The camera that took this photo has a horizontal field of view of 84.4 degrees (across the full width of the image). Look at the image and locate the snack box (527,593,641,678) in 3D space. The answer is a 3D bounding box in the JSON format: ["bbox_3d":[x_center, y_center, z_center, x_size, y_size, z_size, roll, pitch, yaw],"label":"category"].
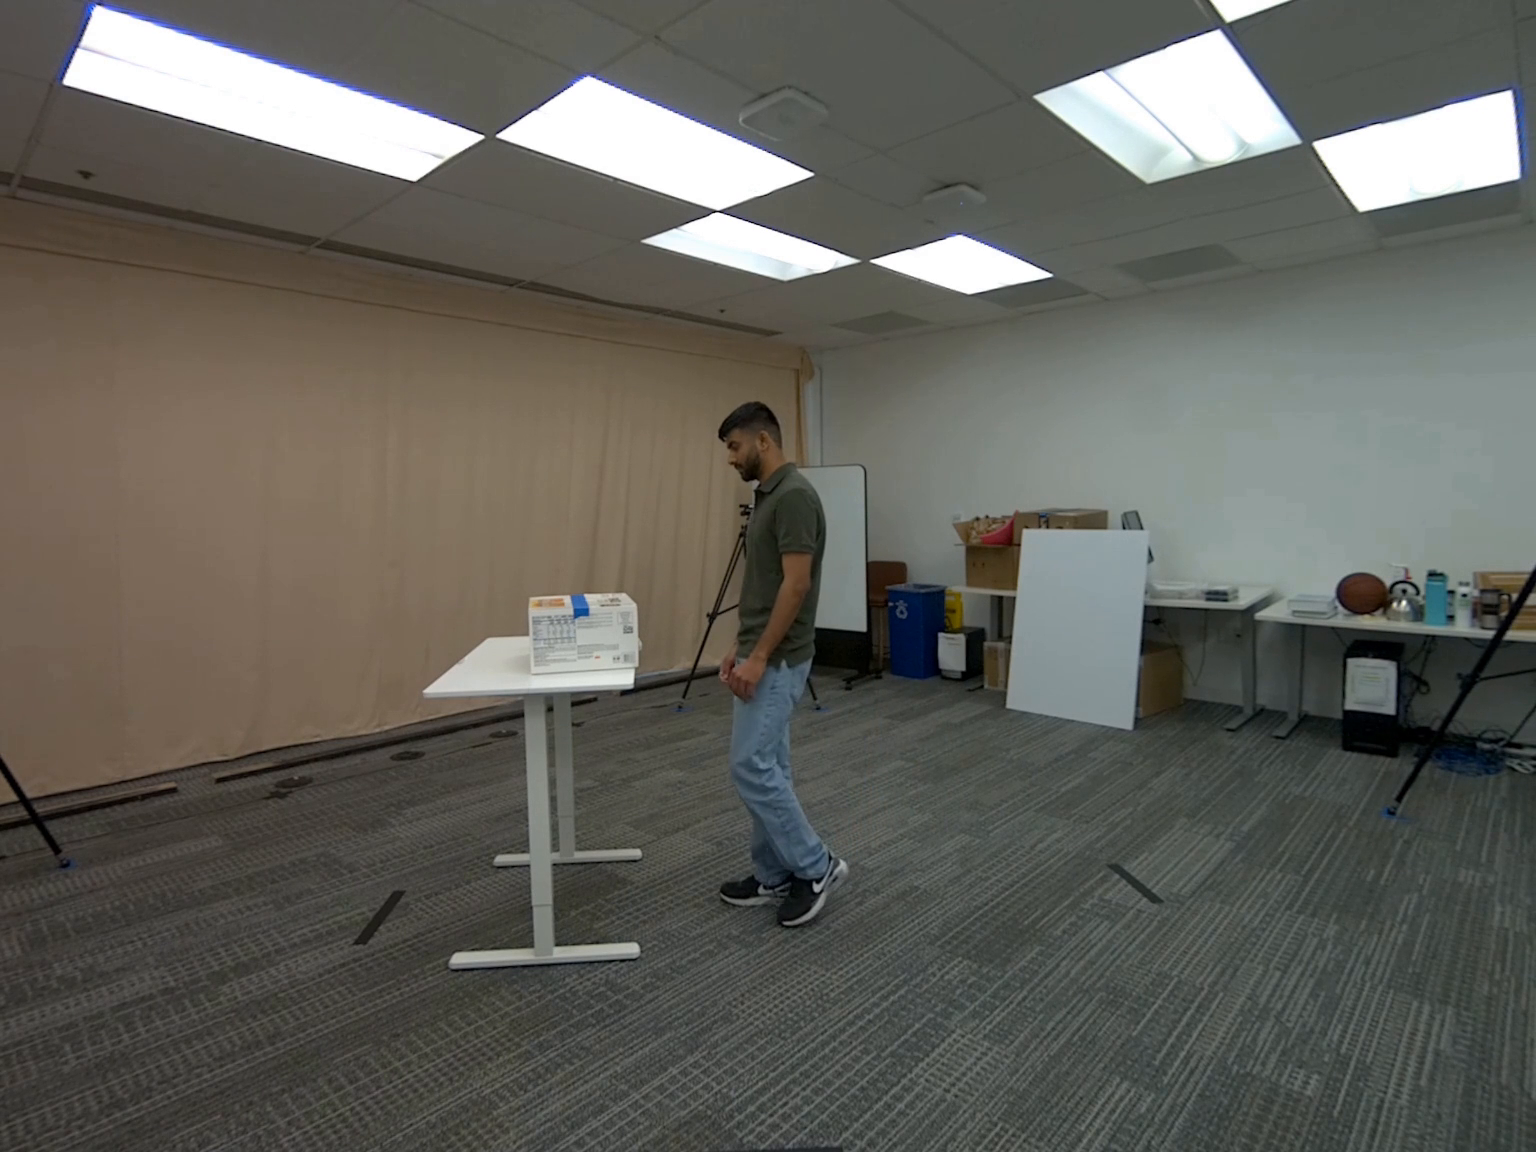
[{"bbox_3d":[-0.626,0.186,2.829,0.336,0.205,0.412,-2,5,-14],"label":"snack box"}]
